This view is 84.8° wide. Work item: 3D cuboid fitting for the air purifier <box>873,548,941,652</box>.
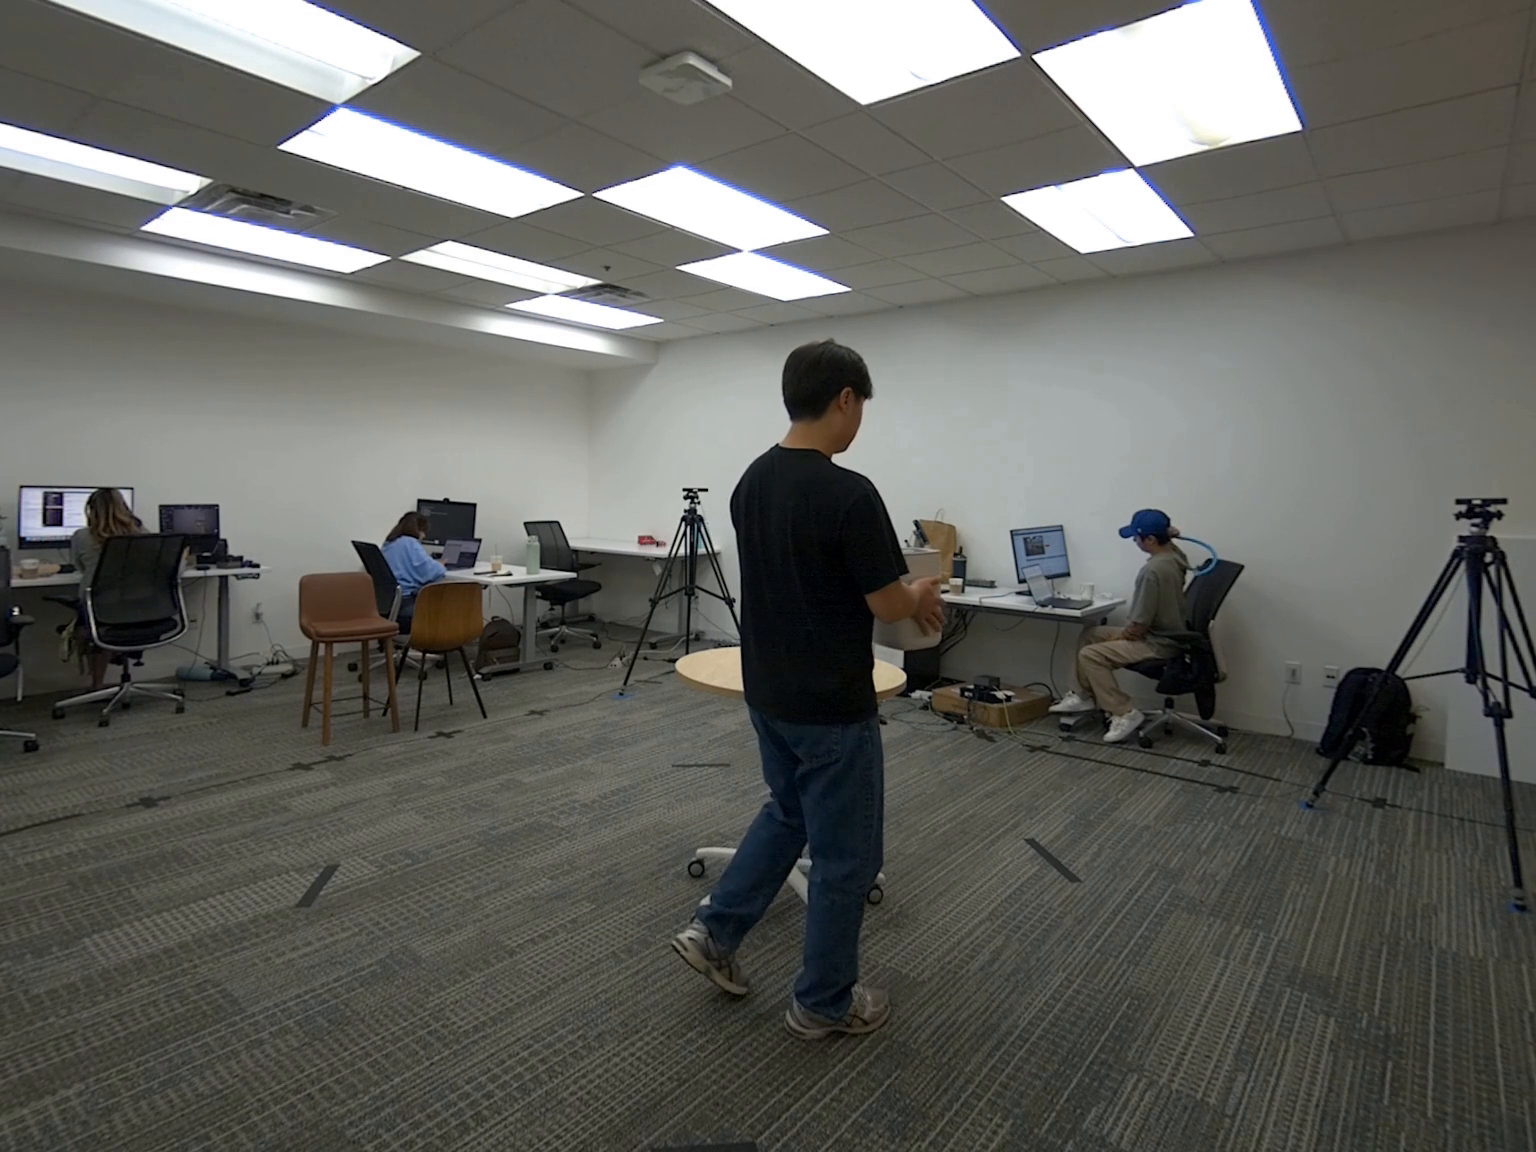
[{"bbox_3d":[0.370,0.064,2.341,0.167,0.264,0.176,-4,7,-31],"label":"air purifier"}]
